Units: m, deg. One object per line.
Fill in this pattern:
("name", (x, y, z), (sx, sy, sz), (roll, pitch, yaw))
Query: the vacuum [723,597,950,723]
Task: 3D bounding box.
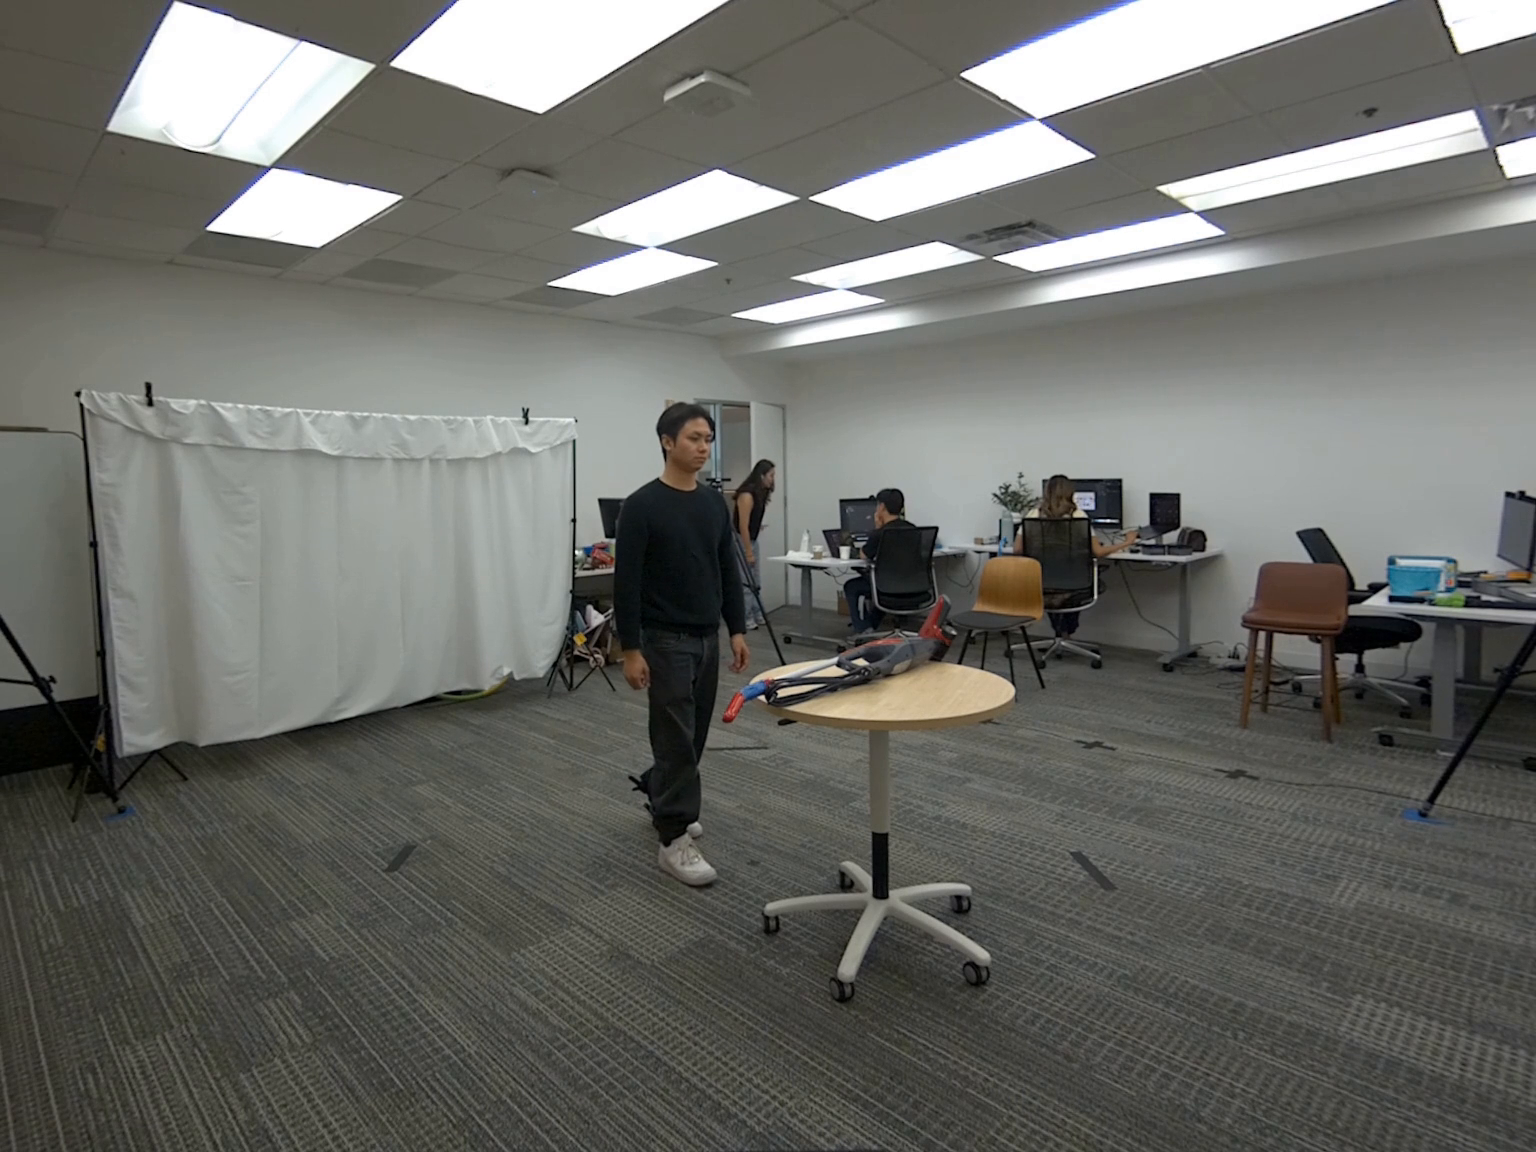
("vacuum", (0.232, 0.283, 2.511), (0.149, 0.249, 1.025), (39, 32, 29))
